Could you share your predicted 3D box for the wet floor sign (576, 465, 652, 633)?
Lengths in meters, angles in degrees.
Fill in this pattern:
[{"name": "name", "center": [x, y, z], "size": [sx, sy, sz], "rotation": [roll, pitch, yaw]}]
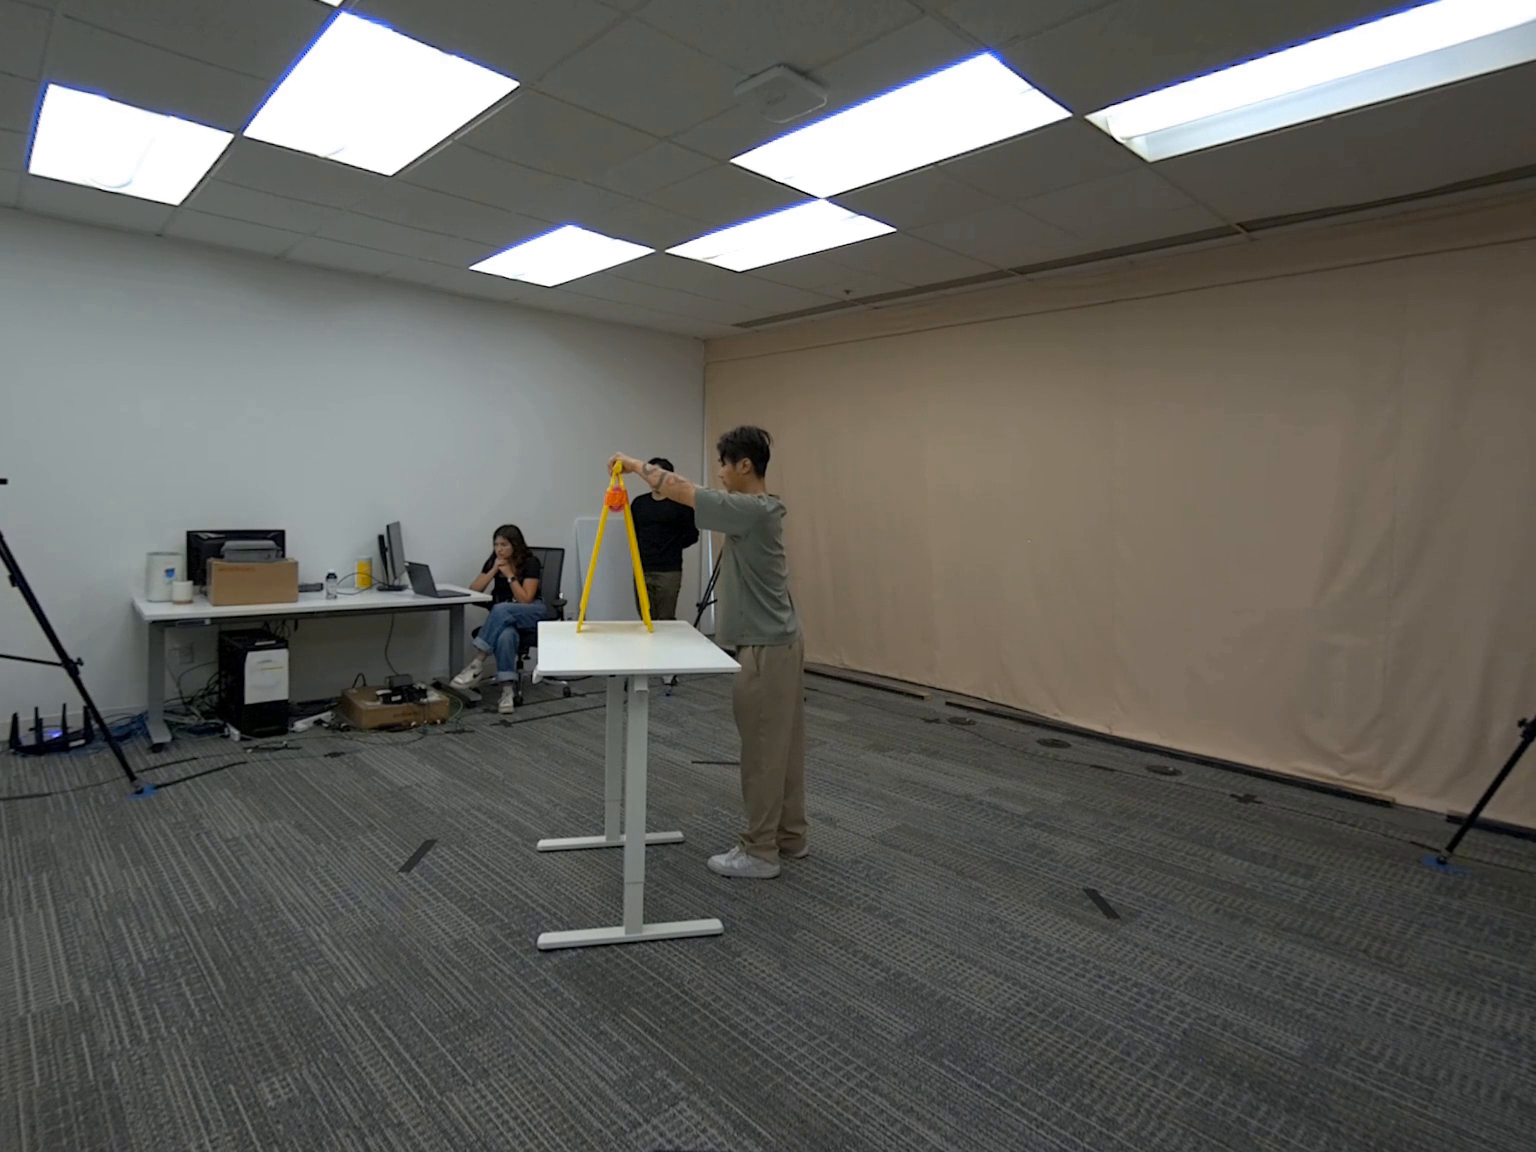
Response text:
[{"name": "wet floor sign", "center": [-0.599, -0.120, 3.270], "size": [0.287, 0.644, 0.285], "rotation": [0, 3, -11]}]
